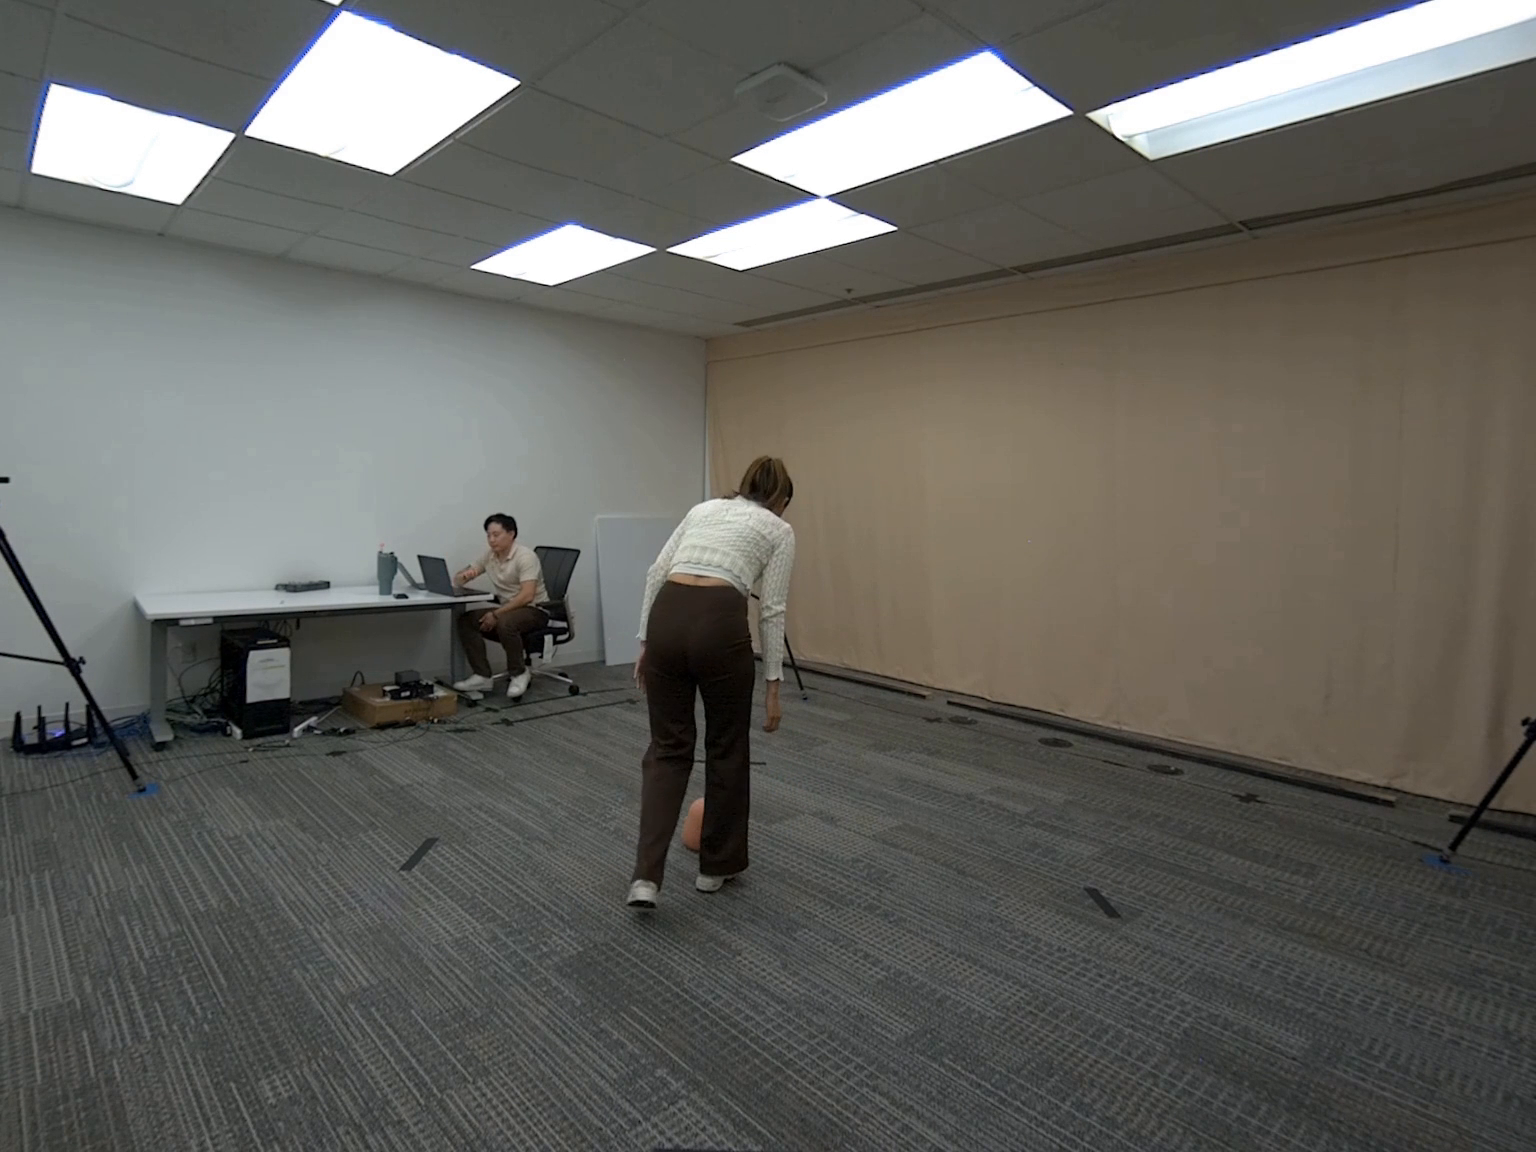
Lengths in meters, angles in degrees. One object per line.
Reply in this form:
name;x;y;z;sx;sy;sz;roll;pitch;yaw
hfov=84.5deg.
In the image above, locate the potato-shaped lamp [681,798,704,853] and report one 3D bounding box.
potato-shaped lamp;-0.261;0.980;3.336;0.161;0.197;0.175;-2;6;-32
